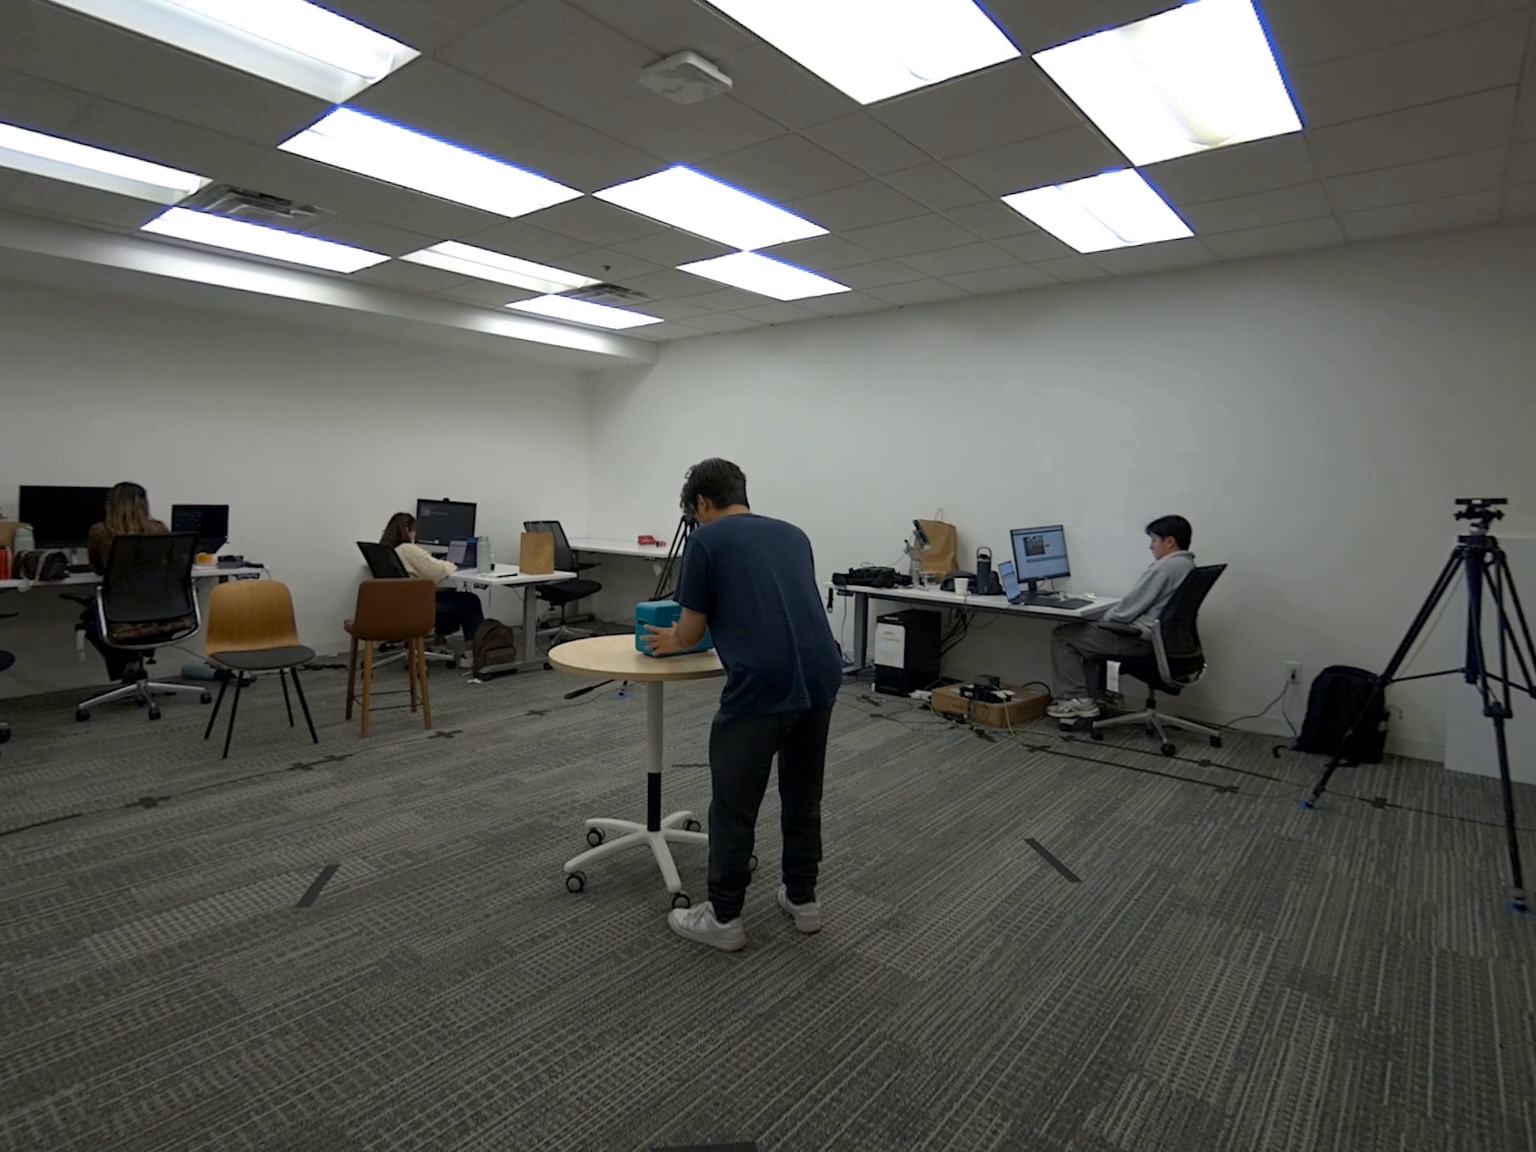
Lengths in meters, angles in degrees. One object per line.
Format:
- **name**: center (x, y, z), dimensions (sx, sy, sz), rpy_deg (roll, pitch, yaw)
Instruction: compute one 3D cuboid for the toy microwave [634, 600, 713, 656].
- **toy microwave**: center (-0.341, 0.179, 3.068), dimensions (0.278, 0.184, 0.157), rpy_deg (-3, 4, -40)
